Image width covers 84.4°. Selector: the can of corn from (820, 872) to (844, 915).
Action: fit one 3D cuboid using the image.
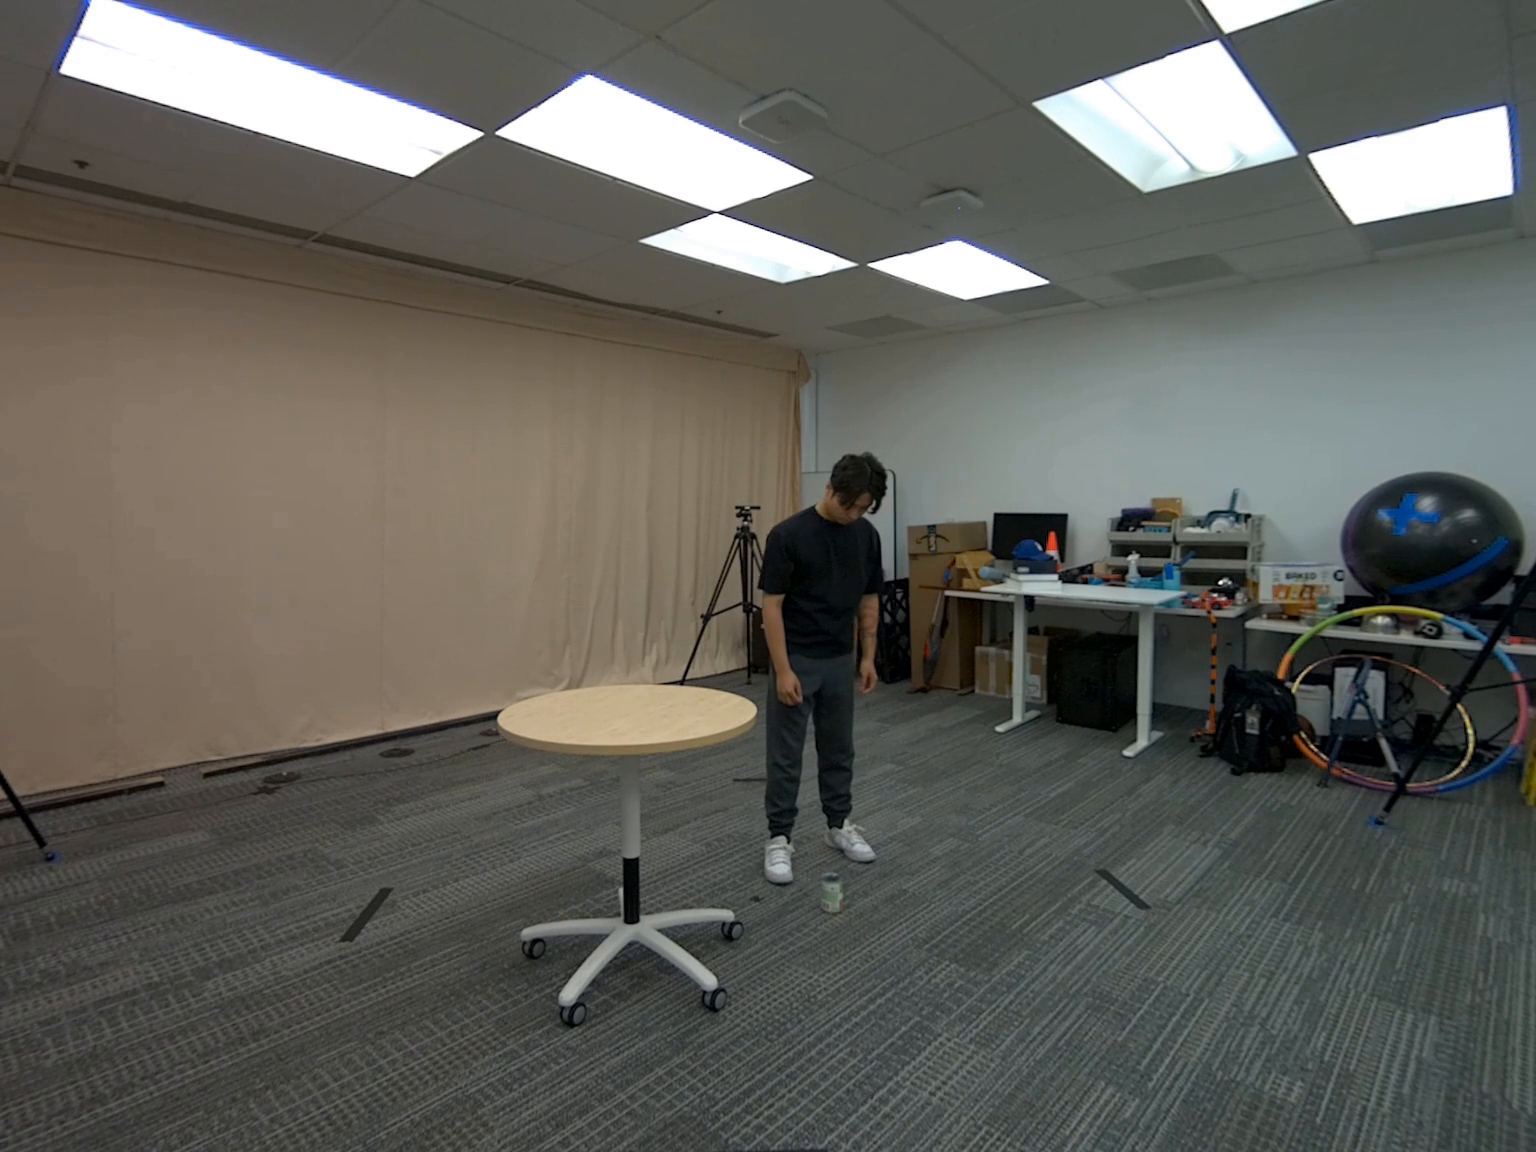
[{"bbox_3d":[0.222,1.097,2.898,0.074,0.111,0.074,-1,3,-2],"label":"can of corn"}]
